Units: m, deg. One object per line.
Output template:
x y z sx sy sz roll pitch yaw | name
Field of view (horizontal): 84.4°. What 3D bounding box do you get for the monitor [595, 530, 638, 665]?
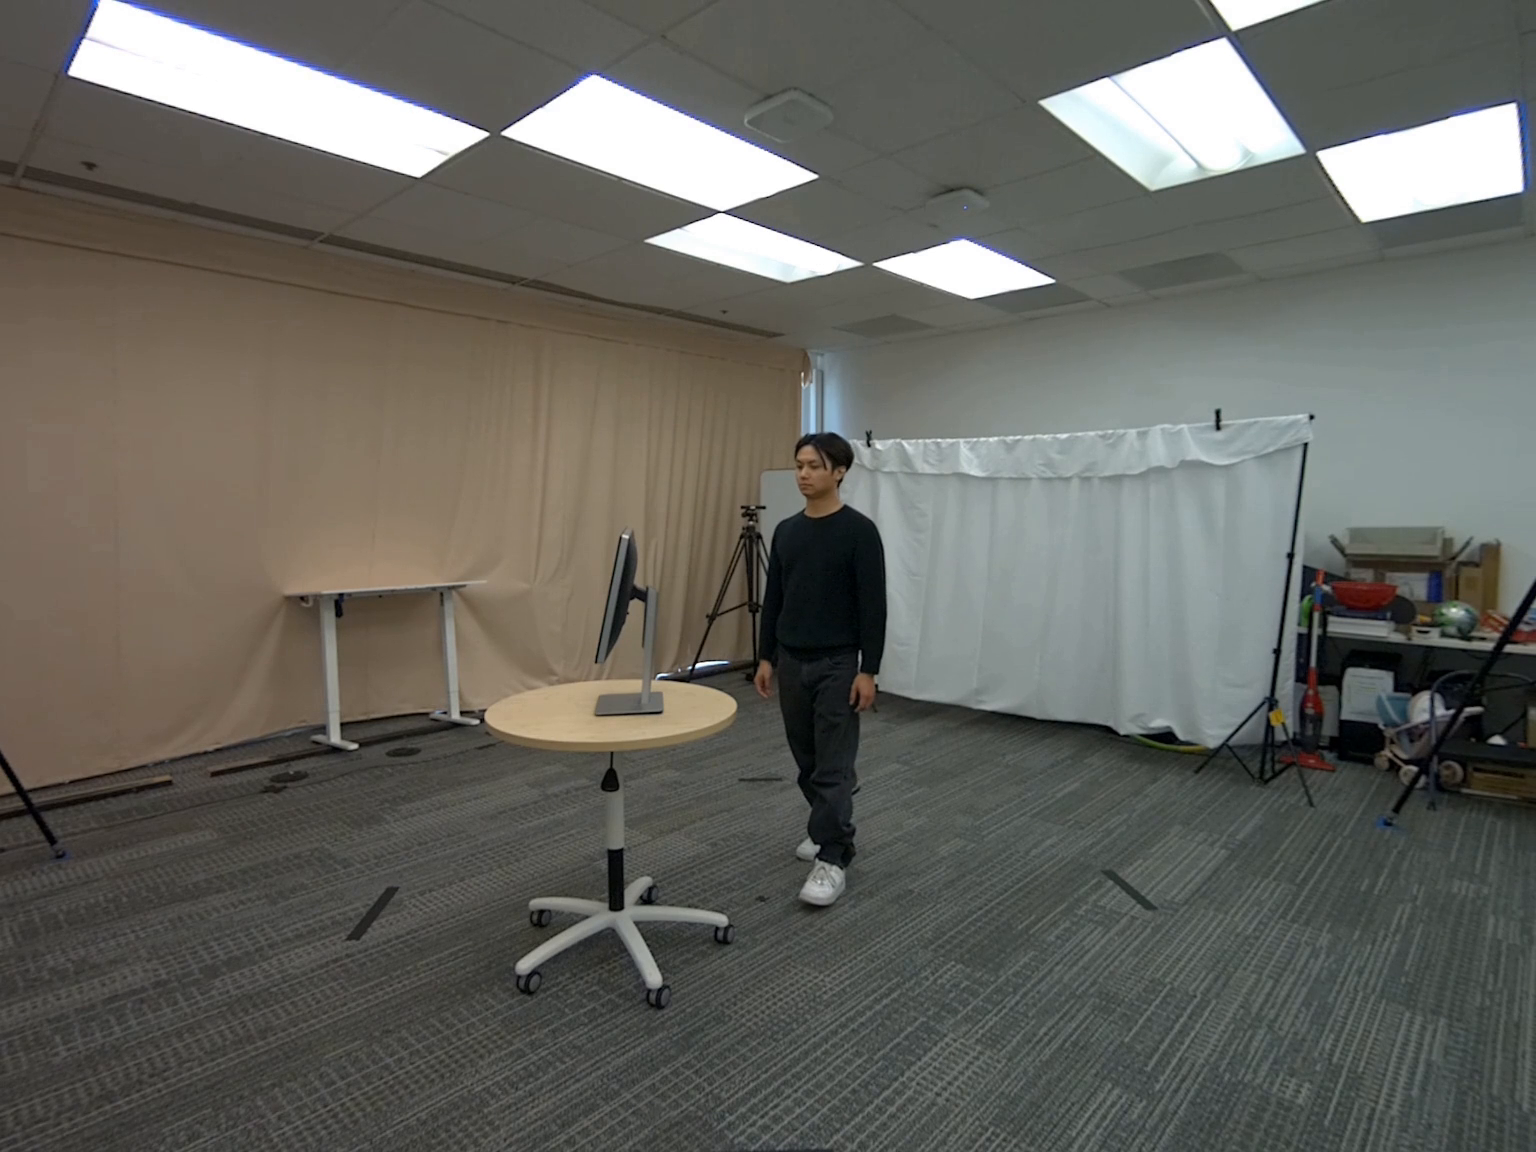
-0.432 0.134 2.583 0.173 0.514 0.535 -4 5 -8 | monitor
